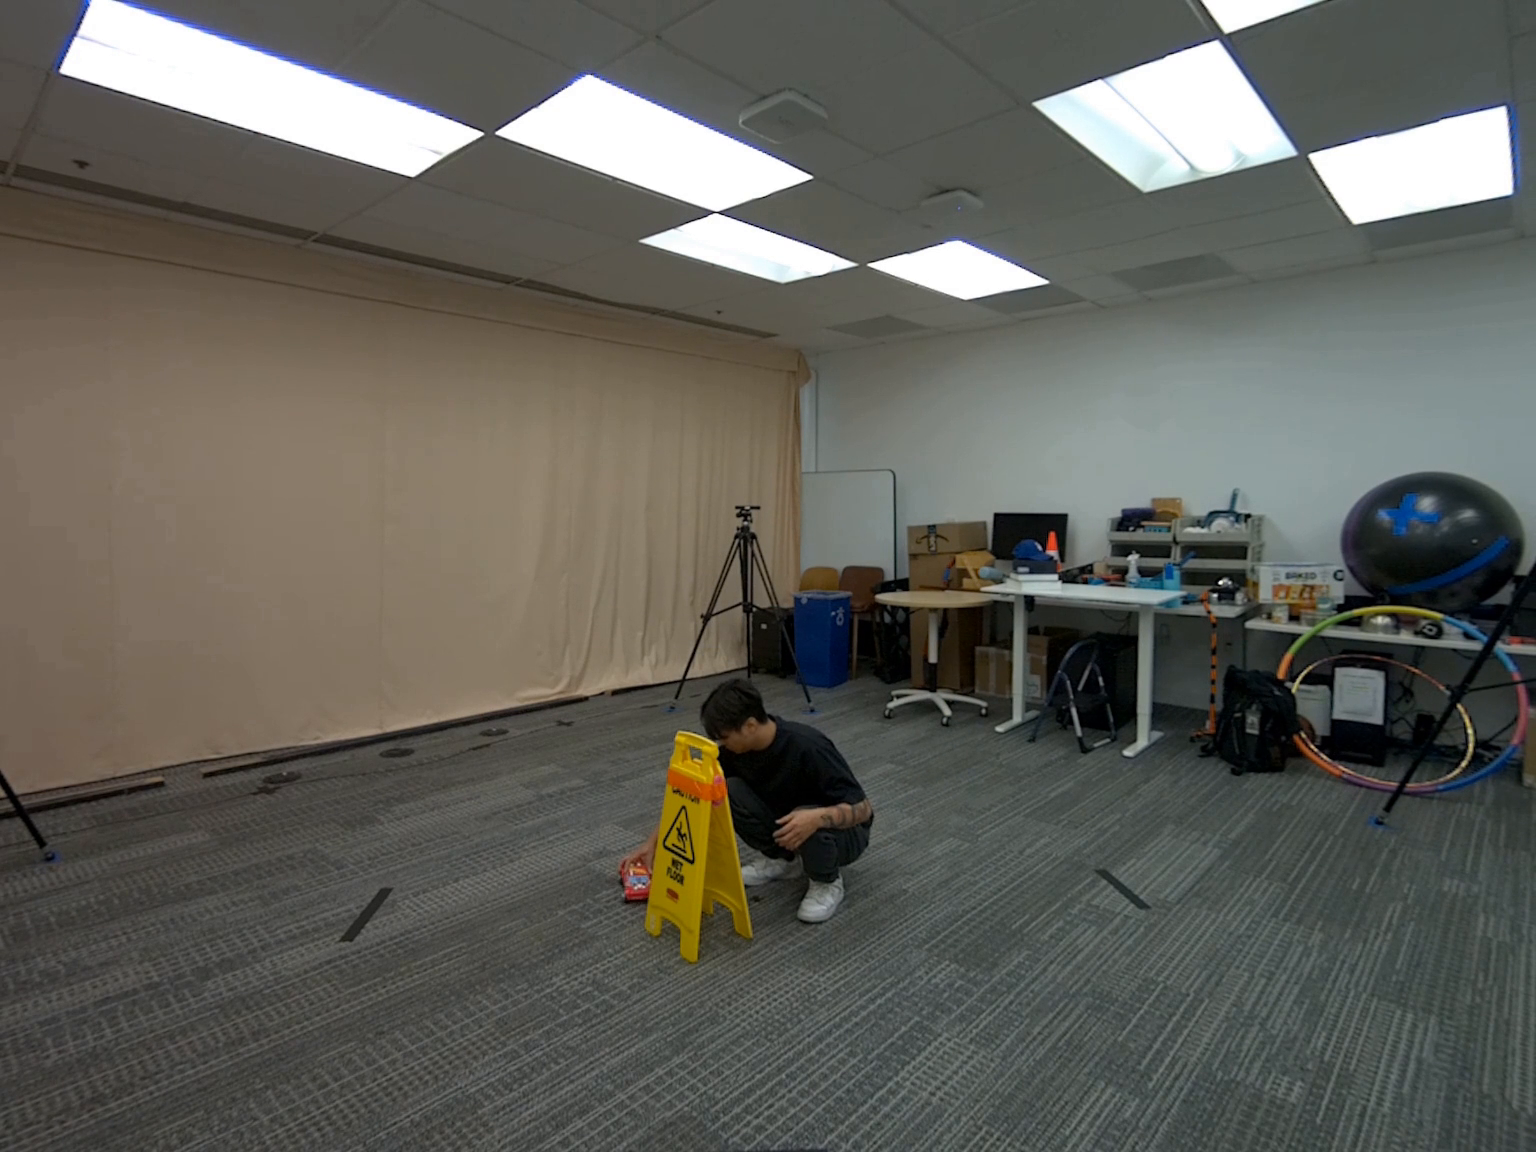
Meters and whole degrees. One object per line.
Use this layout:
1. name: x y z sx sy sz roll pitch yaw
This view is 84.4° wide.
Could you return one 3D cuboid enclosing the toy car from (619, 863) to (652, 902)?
1. toy car: -0.471 1.115 3.071 0.128 0.082 0.260 -1 13 -13
